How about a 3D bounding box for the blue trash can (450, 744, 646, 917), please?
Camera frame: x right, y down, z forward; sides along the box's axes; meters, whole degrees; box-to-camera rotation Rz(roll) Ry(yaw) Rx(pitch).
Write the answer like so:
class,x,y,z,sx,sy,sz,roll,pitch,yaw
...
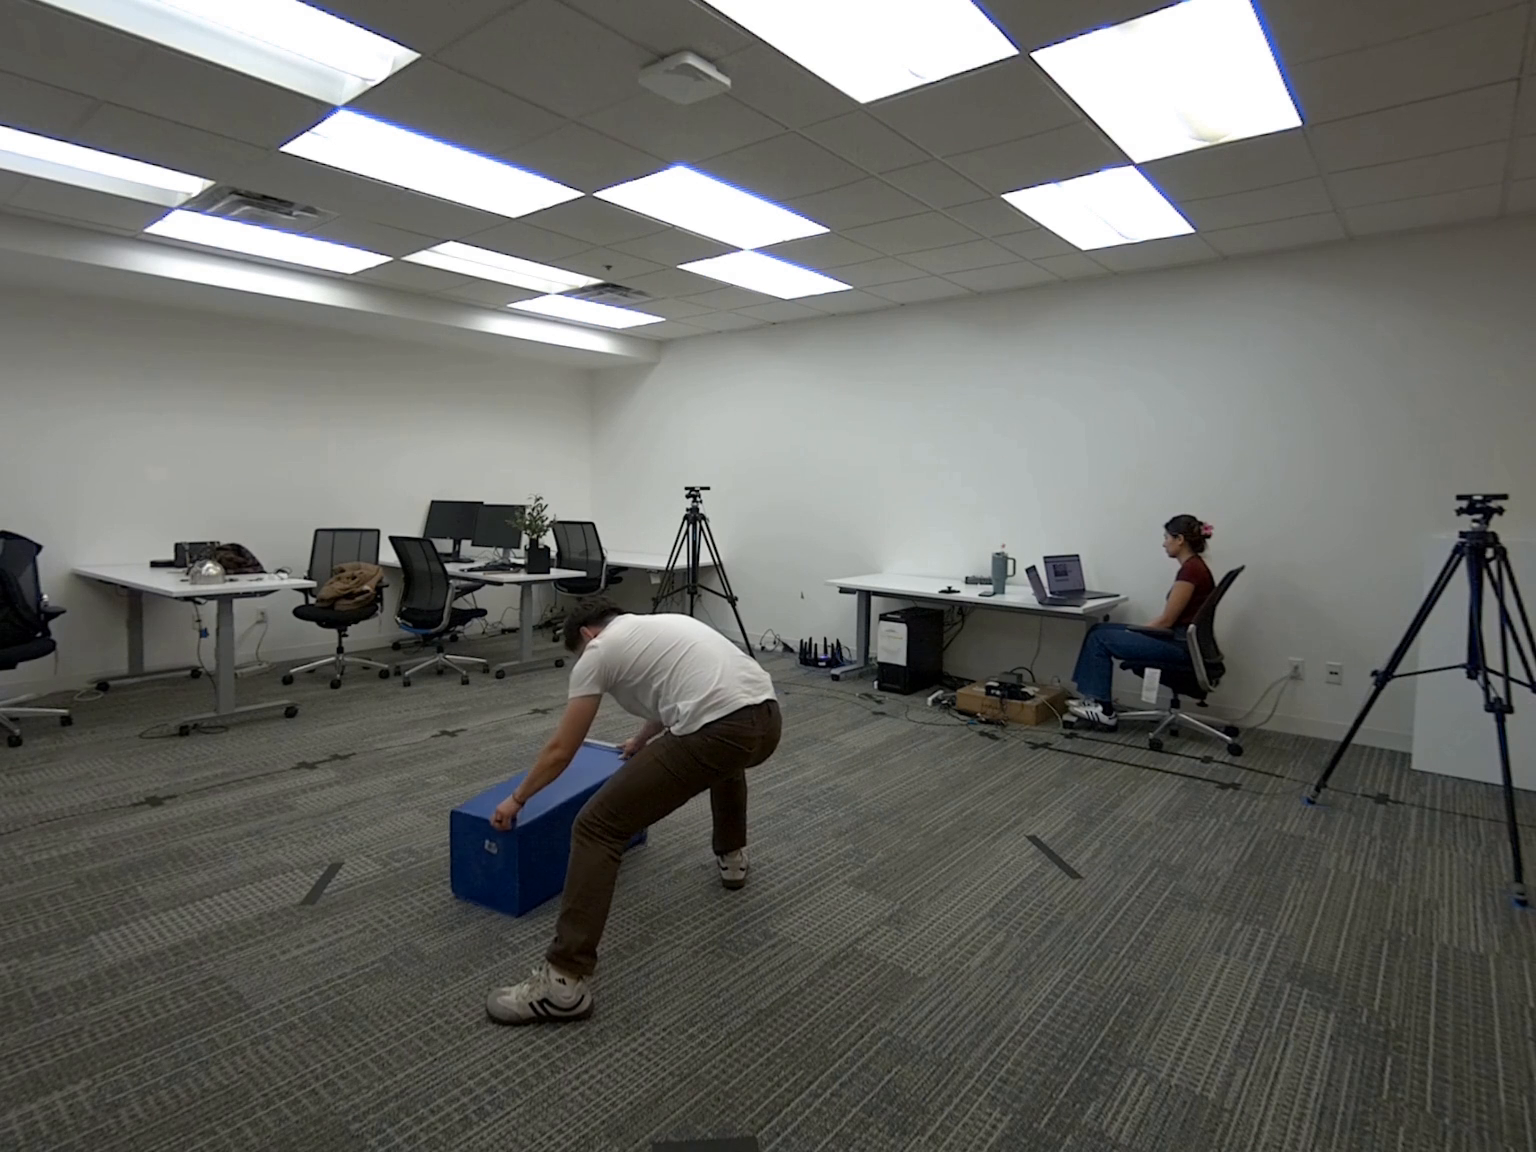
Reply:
class,x,y,z,sx,sy,sz,roll,pitch,yaw
blue trash can,-0.790,0.890,3.099,0.385,0.375,0.698,5,9,26
